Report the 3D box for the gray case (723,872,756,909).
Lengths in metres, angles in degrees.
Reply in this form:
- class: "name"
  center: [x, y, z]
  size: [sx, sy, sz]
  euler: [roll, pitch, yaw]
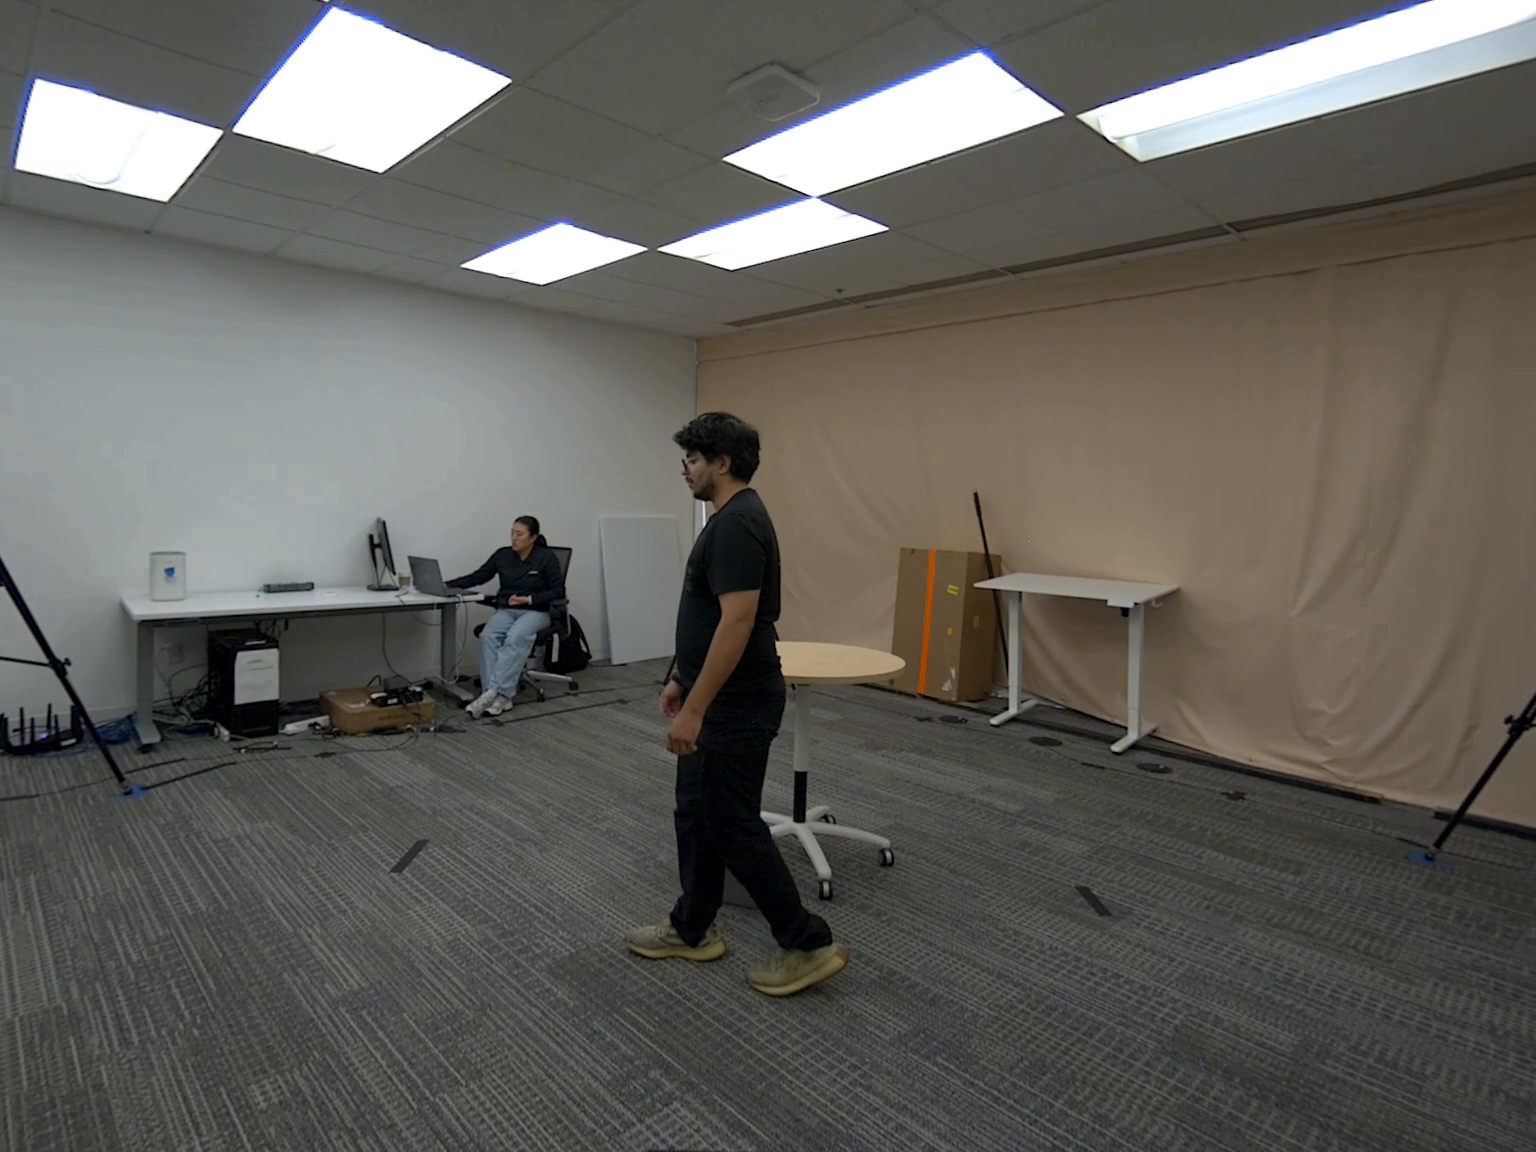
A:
- class: "gray case"
  center: [-0.087, 0.995, 2.875]
  size: [0.261, 0.258, 0.104]
  euler: [2, 14, 20]
